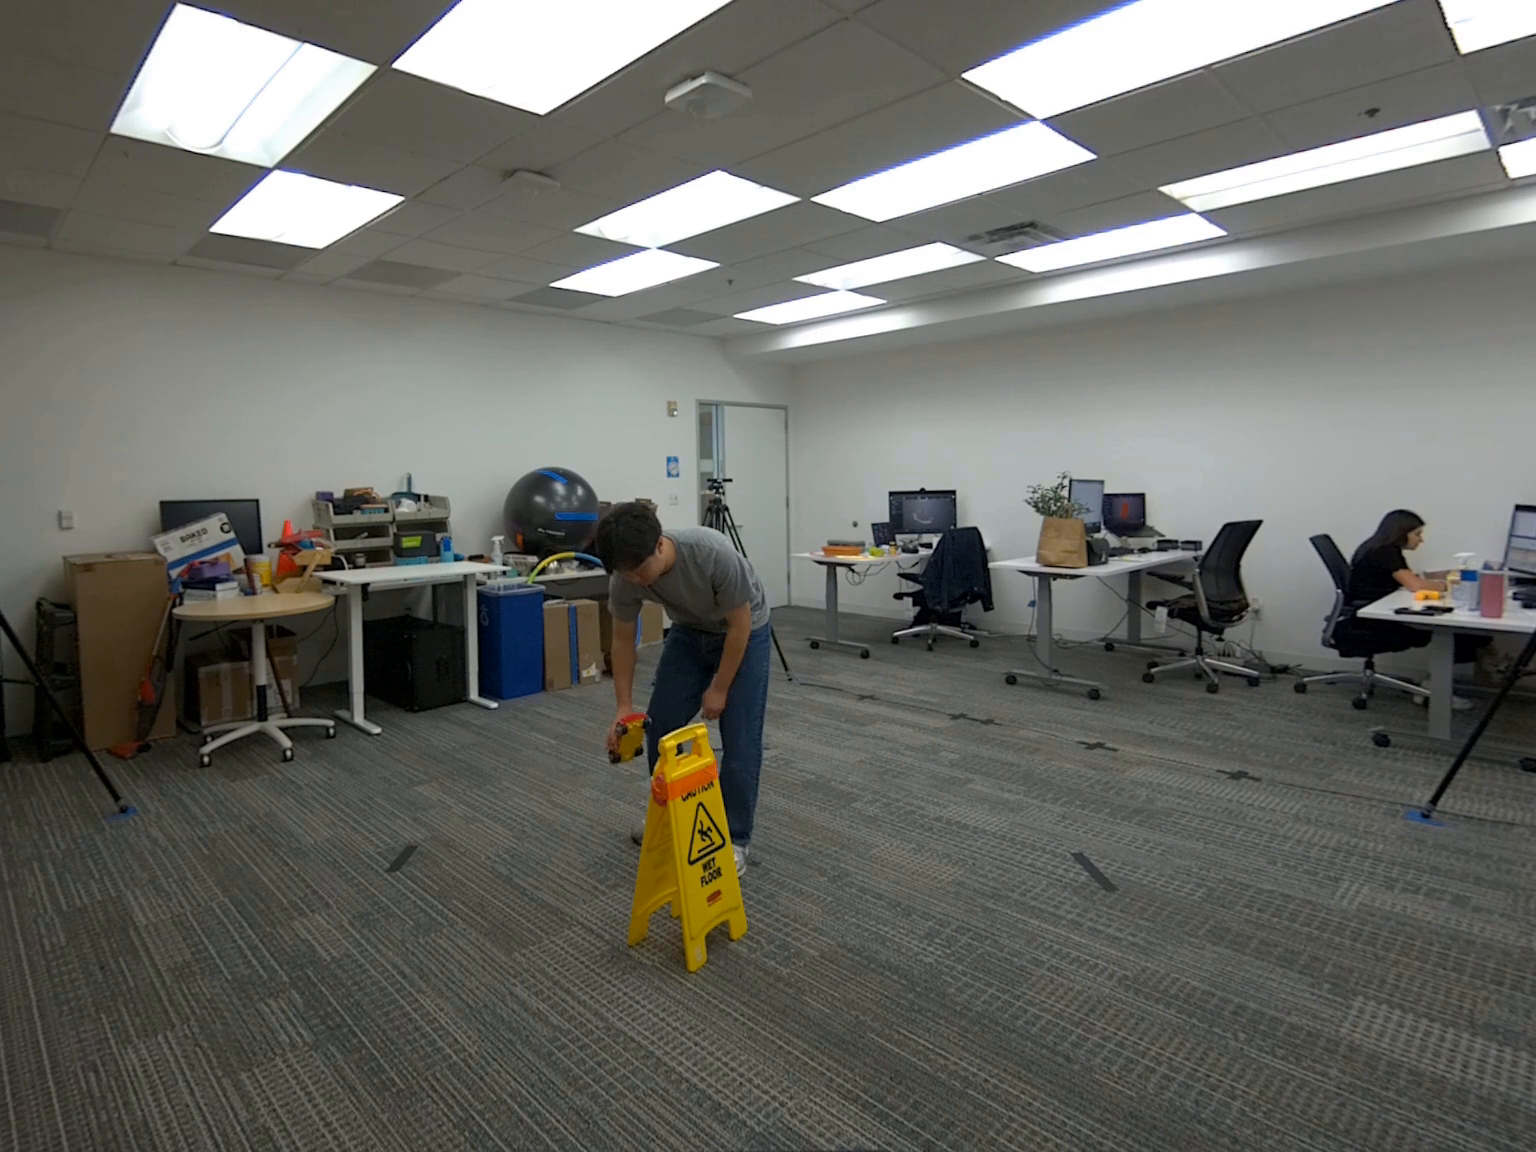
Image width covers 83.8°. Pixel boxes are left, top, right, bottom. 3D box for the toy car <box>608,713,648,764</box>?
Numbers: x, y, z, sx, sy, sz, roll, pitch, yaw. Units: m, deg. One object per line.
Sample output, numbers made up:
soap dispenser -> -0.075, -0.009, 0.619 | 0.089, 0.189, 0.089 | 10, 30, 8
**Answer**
toy car -> -0.494, 0.597, 2.958 | 0.127, 0.086, 0.251 | -11, -34, -33
